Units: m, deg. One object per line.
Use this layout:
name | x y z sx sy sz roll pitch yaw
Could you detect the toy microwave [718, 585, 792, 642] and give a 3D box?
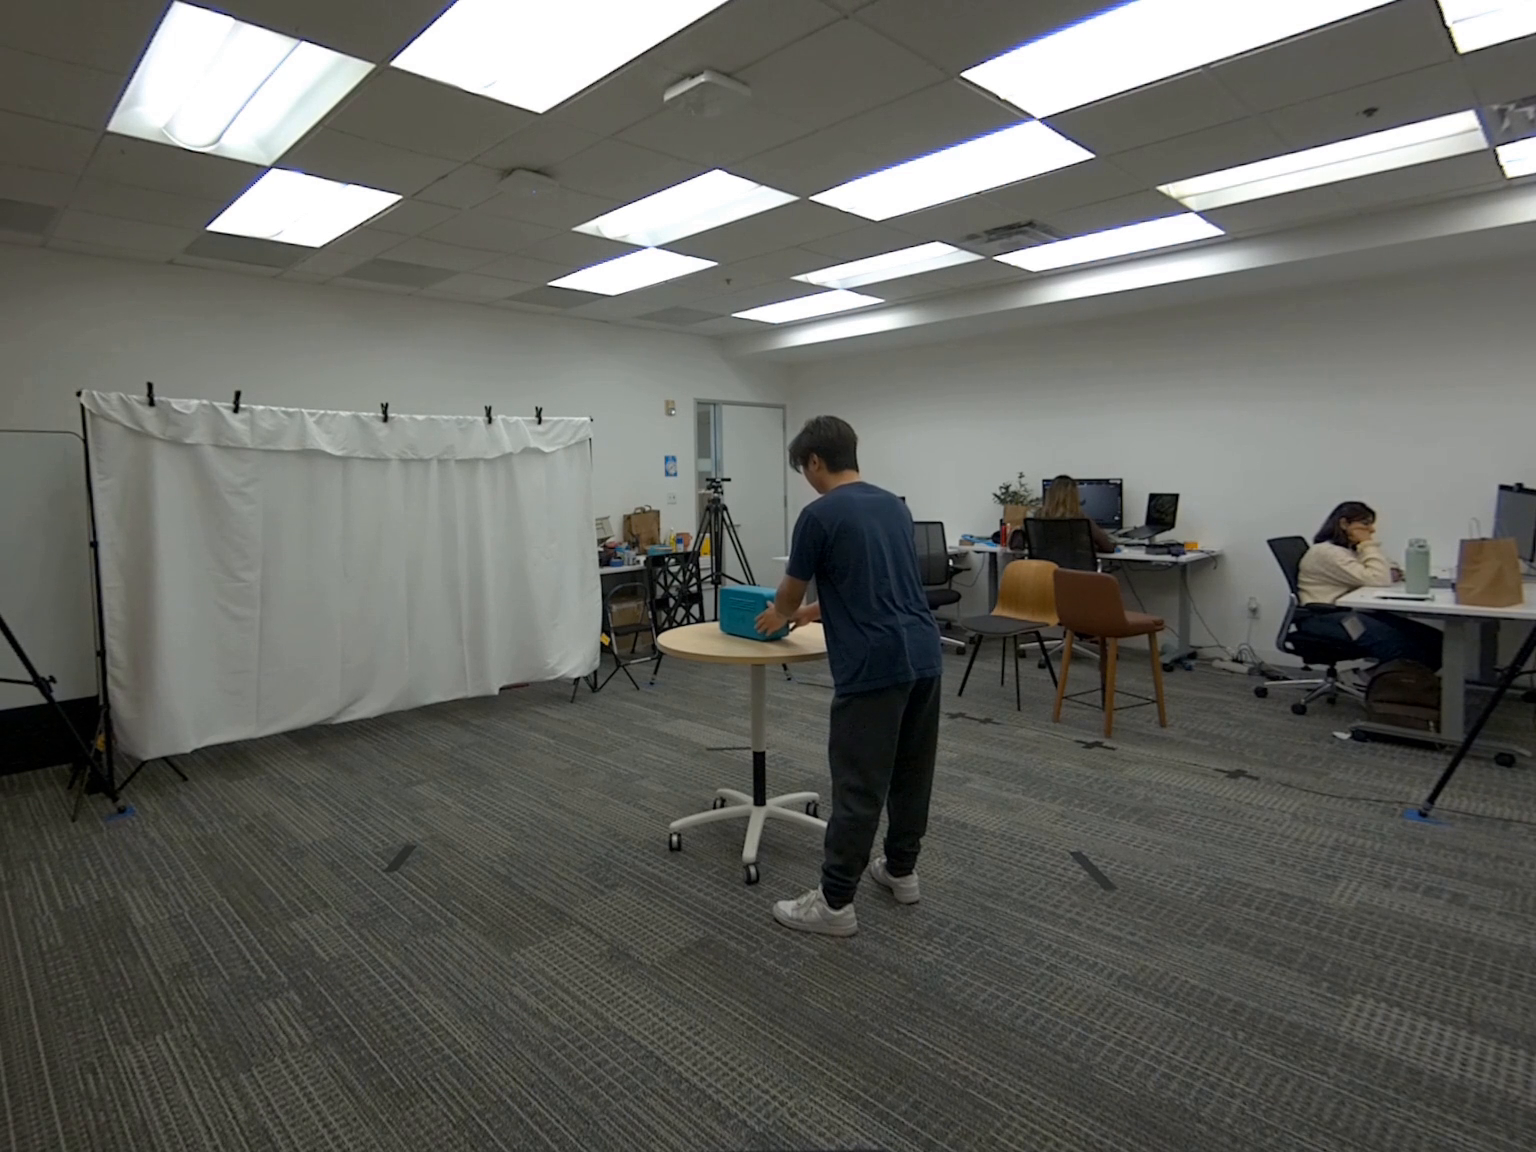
toy microwave | -0.048 0.137 3.263 0.148 0.183 0.295 -4 7 -38
